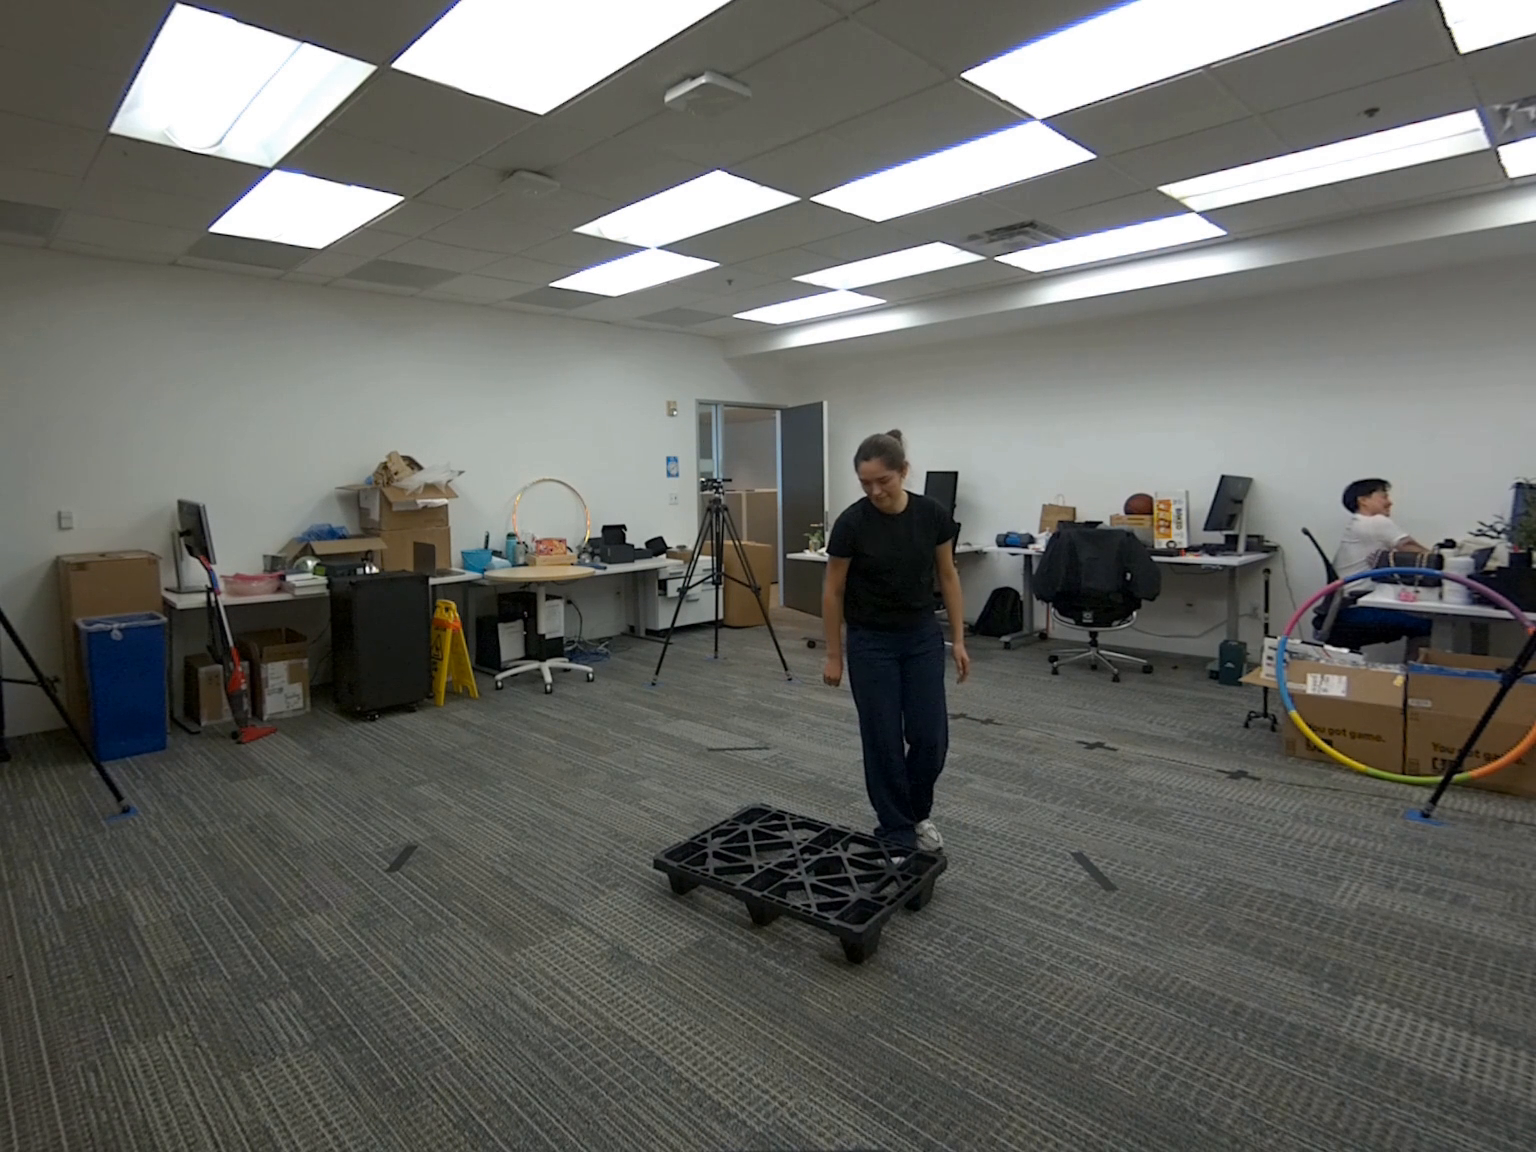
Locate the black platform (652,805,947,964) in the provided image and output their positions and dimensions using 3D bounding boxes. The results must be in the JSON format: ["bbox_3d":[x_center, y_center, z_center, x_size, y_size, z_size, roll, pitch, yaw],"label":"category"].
[{"bbox_3d":[0.101,1.003,2.870,0.830,0.143,0.590,4,8,37],"label":"black platform"}]
